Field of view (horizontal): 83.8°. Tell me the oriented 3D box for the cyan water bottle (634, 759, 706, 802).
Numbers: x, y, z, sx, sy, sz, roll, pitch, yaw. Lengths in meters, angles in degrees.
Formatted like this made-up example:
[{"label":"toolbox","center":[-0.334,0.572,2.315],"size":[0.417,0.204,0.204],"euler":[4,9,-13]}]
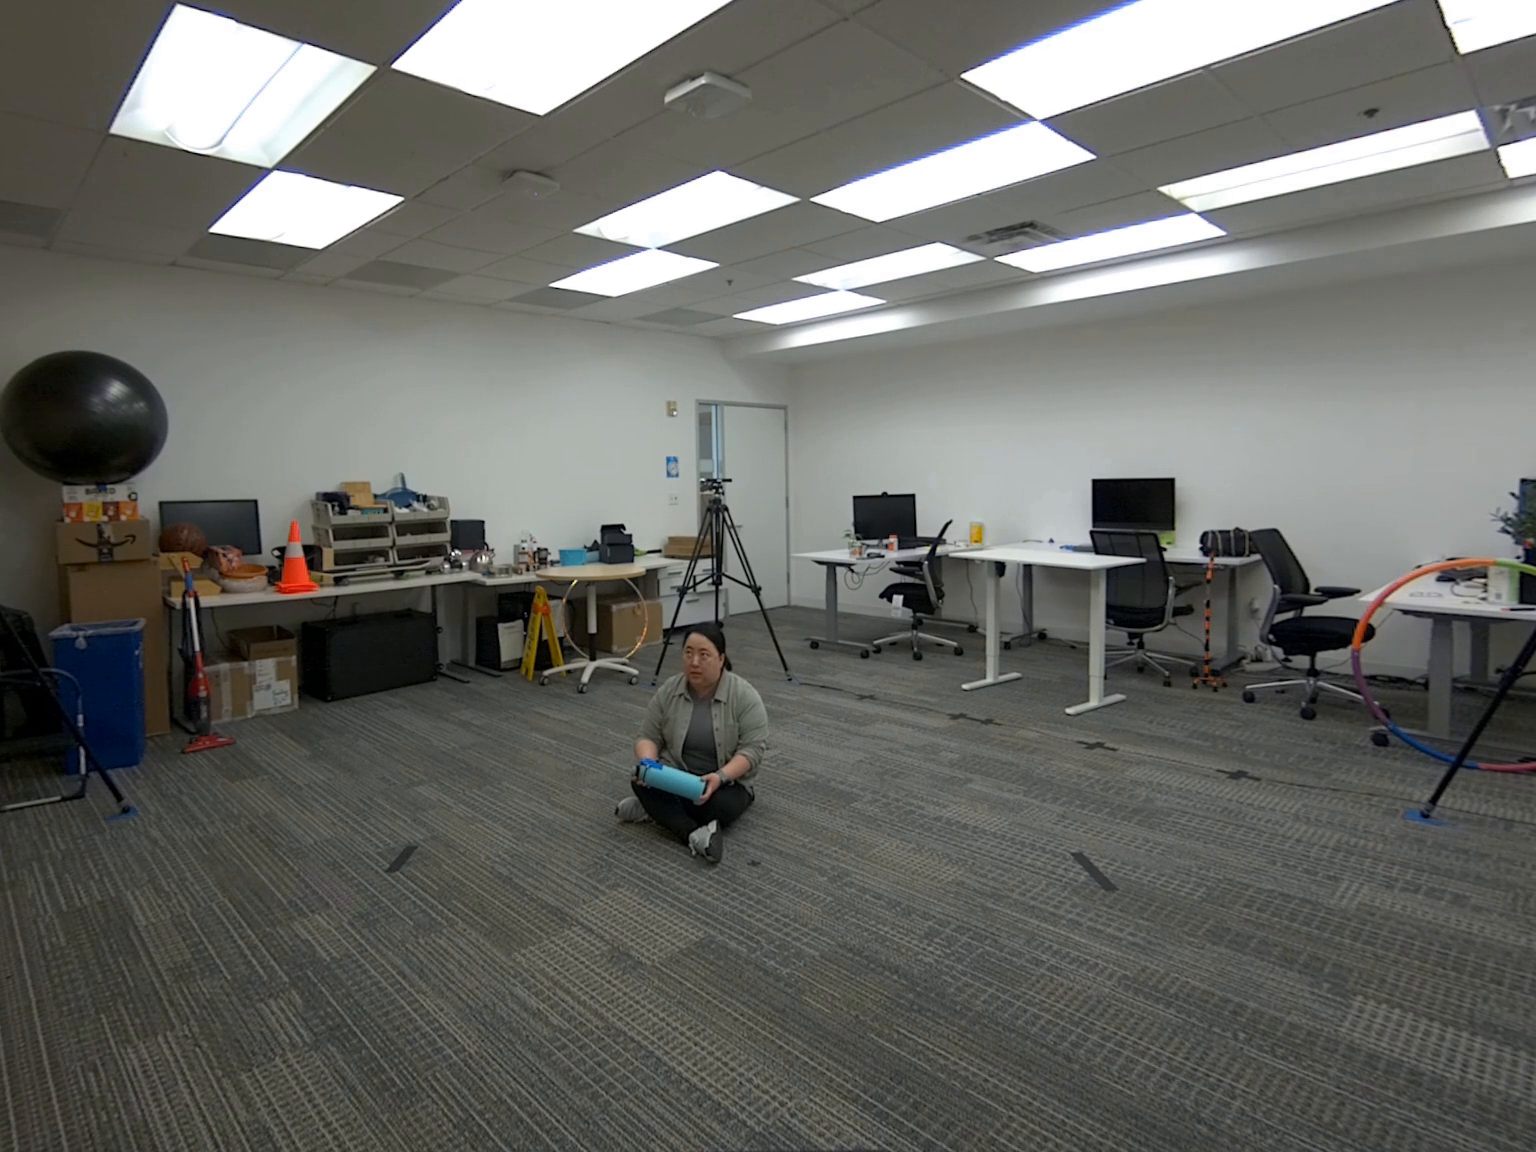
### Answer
[{"label":"cyan water bottle","center":[-0.396,0.790,3.313],"size":[0.284,0.092,0.092],"euler":[18,6,3]}]
